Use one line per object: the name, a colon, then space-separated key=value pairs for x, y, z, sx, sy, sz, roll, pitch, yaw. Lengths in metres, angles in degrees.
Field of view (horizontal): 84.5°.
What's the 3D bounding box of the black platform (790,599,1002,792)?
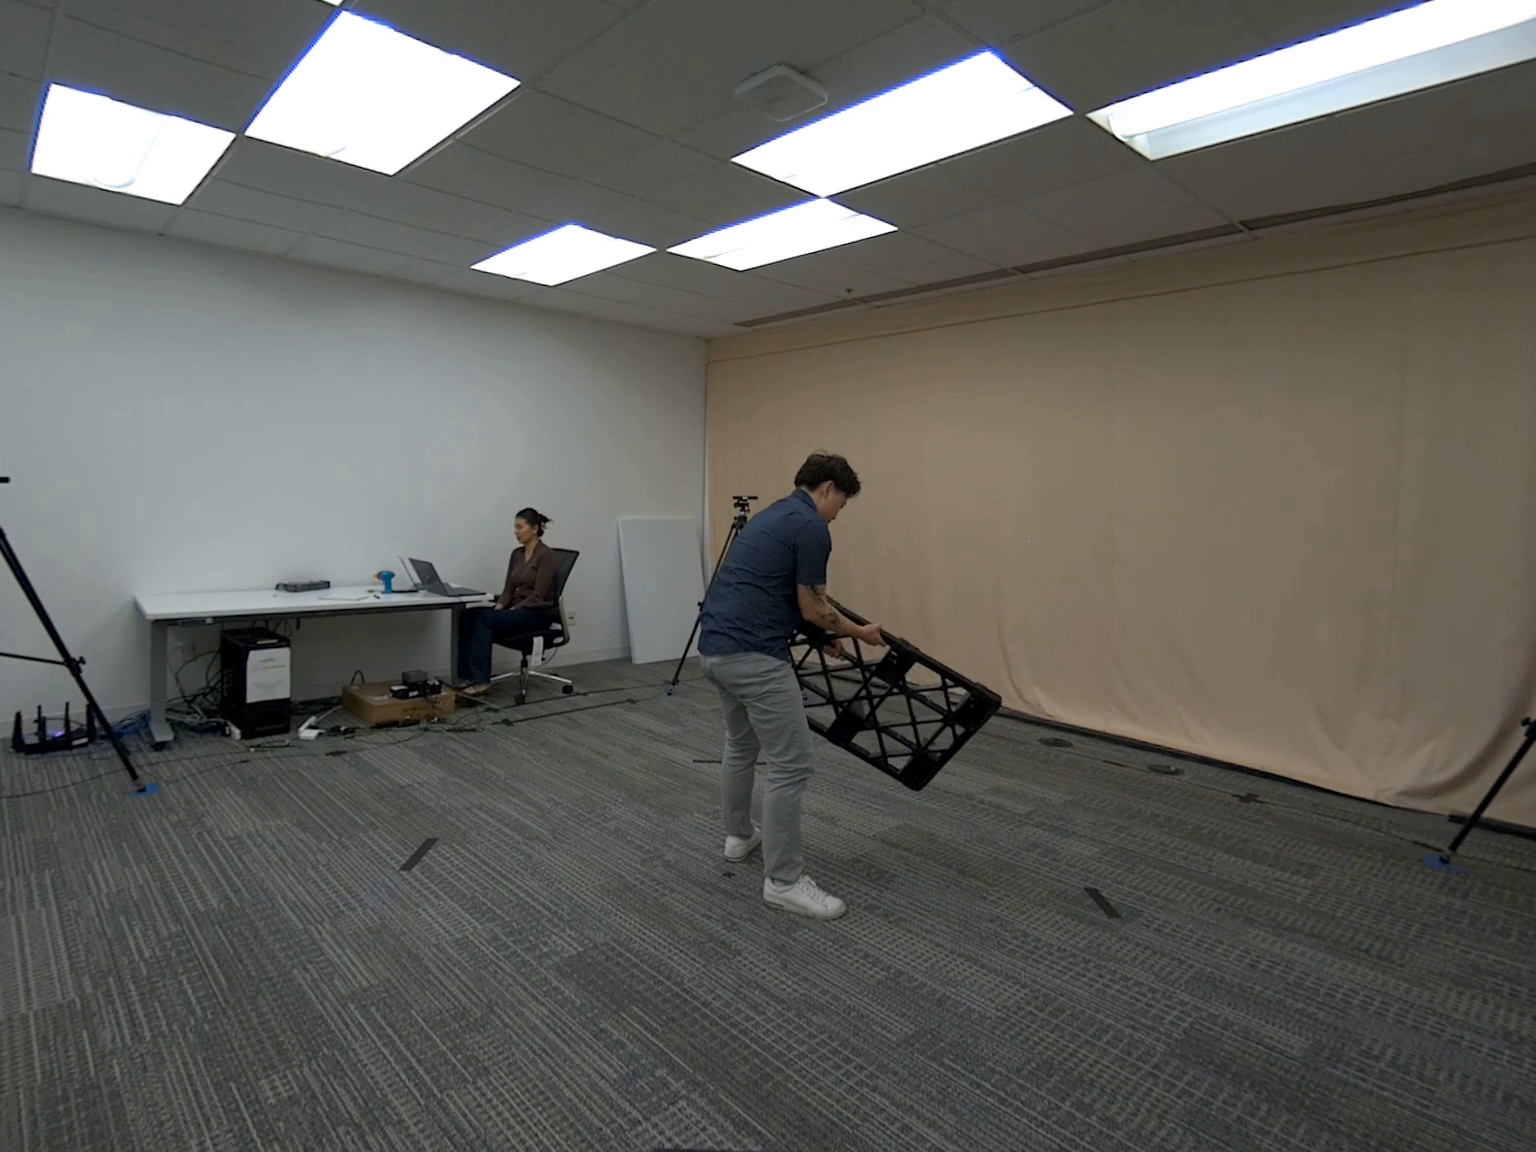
black platform: x=0.407 y=0.452 z=3.312 sx=0.807 sy=0.601 sz=0.144 roll=31 pitch=36 yaw=1
